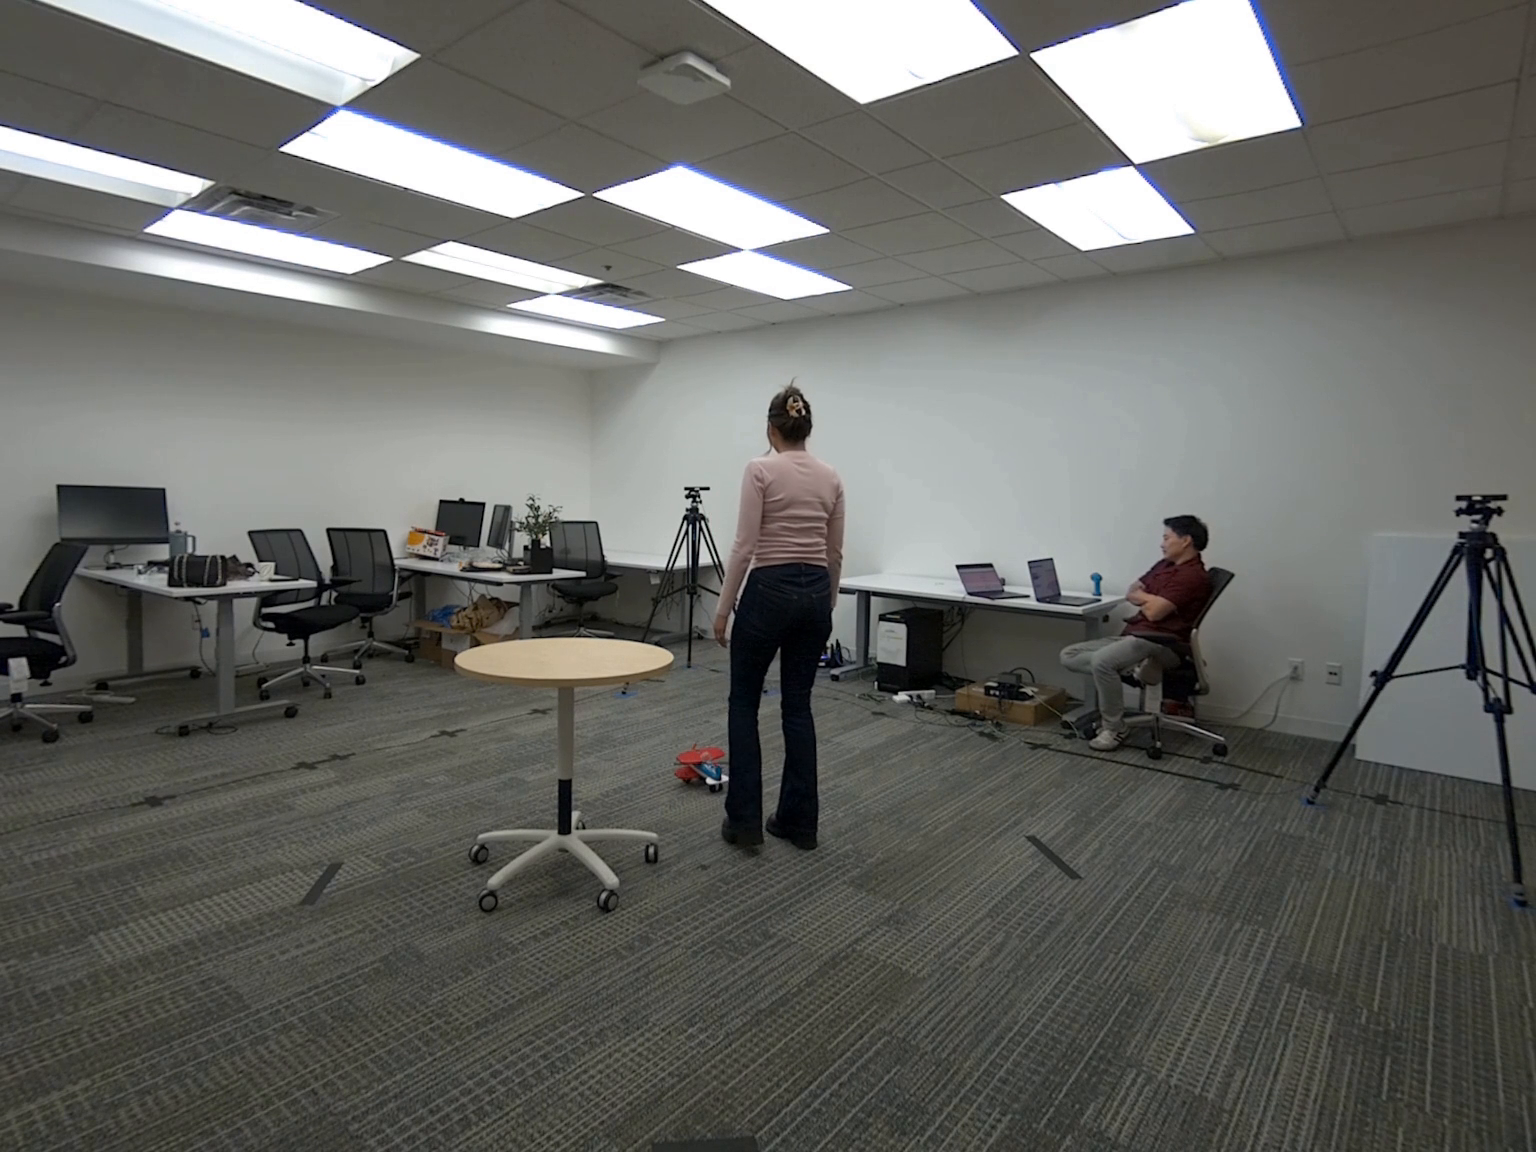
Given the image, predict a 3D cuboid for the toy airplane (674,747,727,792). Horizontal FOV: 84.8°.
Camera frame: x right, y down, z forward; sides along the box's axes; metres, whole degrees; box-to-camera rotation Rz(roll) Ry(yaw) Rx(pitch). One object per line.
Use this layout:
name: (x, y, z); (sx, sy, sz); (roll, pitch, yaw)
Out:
toy airplane: (-0.302, 0.905, 3.994); (0.266, 0.156, 0.246); (1, 5, 24)
